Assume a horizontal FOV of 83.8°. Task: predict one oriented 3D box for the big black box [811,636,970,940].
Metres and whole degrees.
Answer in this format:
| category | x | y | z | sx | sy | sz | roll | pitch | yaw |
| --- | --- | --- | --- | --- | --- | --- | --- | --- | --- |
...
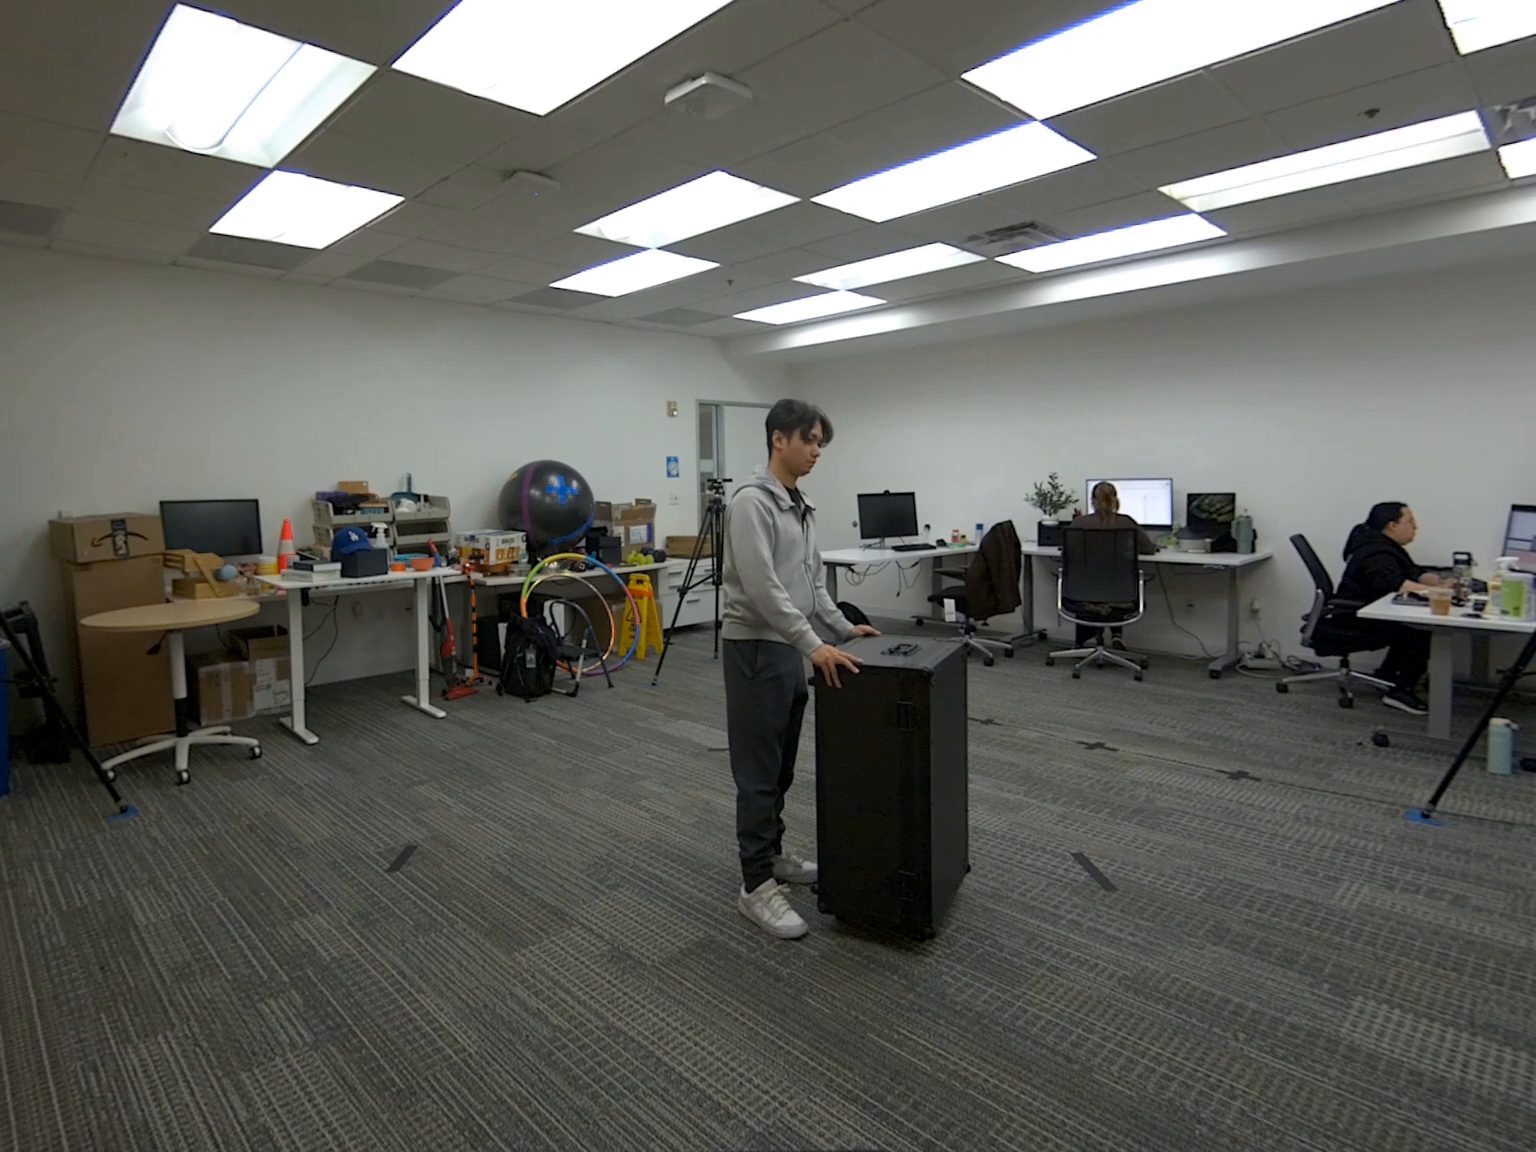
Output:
| category | x | y | z | sx | sy | sz | roll | pitch | yaw |
| --- | --- | --- | --- | --- | --- | --- | --- | --- | --- |
| big black box | 0.401 | 0.654 | 2.718 | 0.406 | 0.859 | 0.510 | 0 | 4 | 27 |
